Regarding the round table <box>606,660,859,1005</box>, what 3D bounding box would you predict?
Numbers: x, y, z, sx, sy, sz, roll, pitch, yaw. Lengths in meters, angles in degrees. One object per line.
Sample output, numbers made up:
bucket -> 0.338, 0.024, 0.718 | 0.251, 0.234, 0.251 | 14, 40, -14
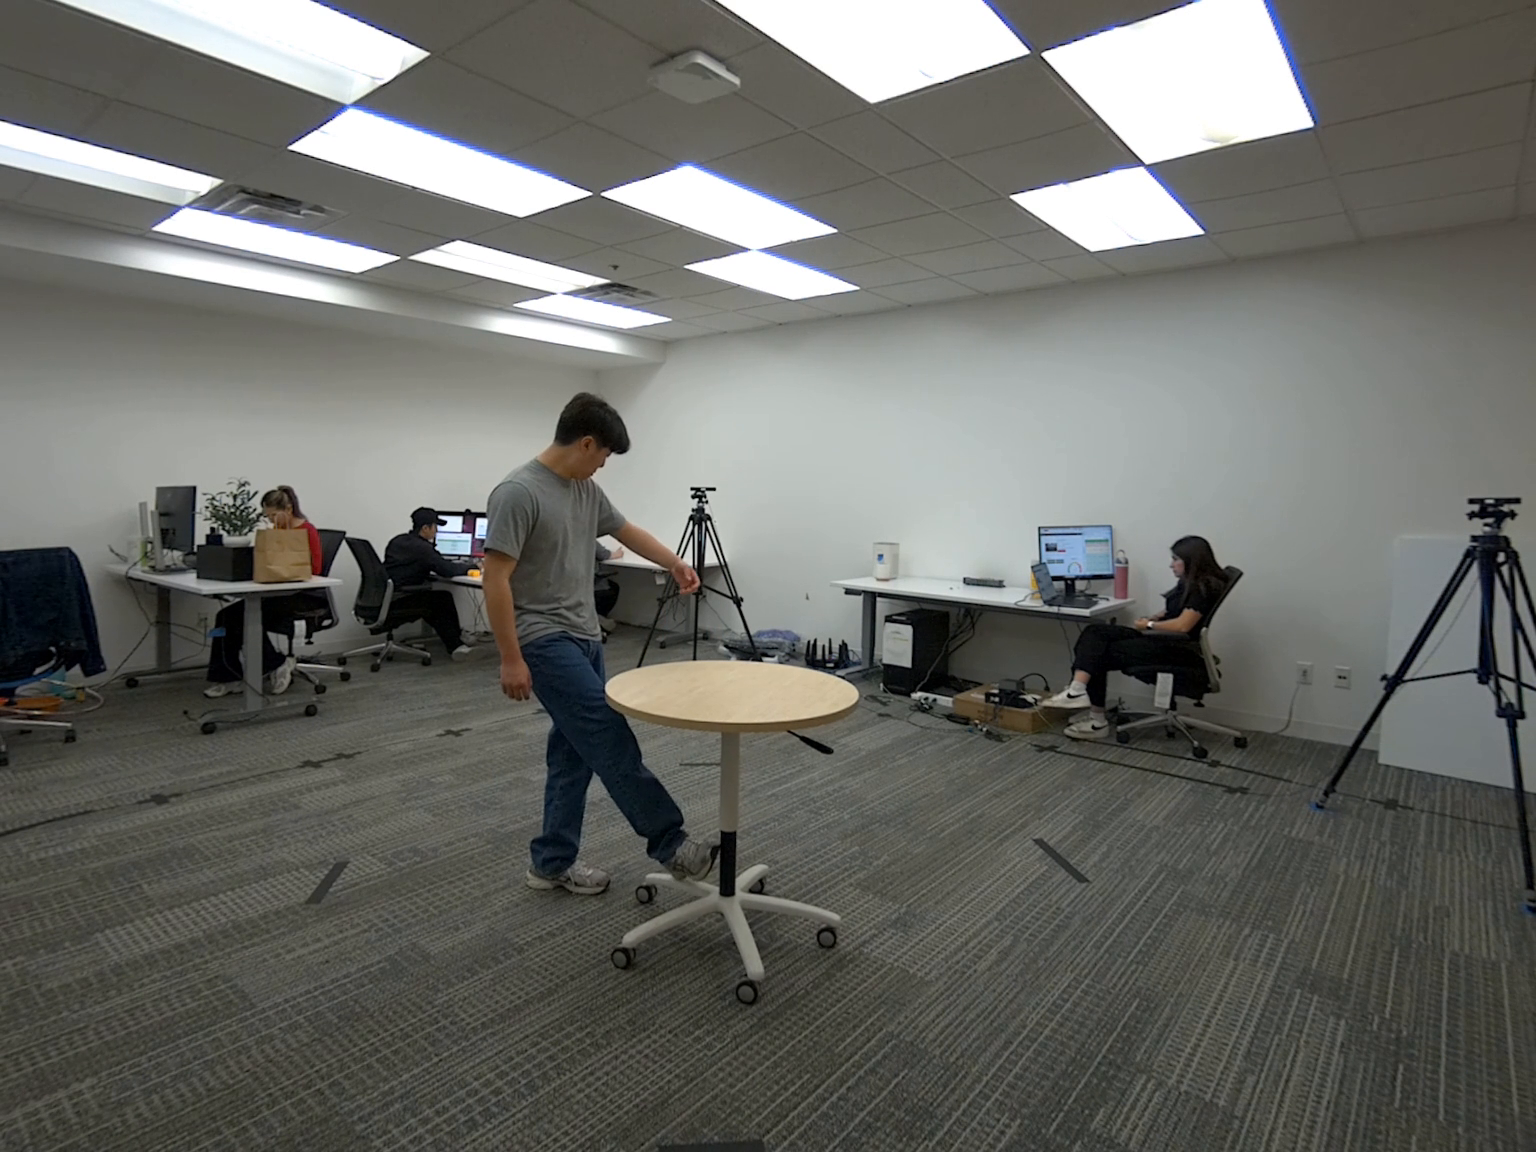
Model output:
round table -> -0.127, 0.730, 2.605 | 0.763, 0.791, 0.768 | 1, 4, -2
